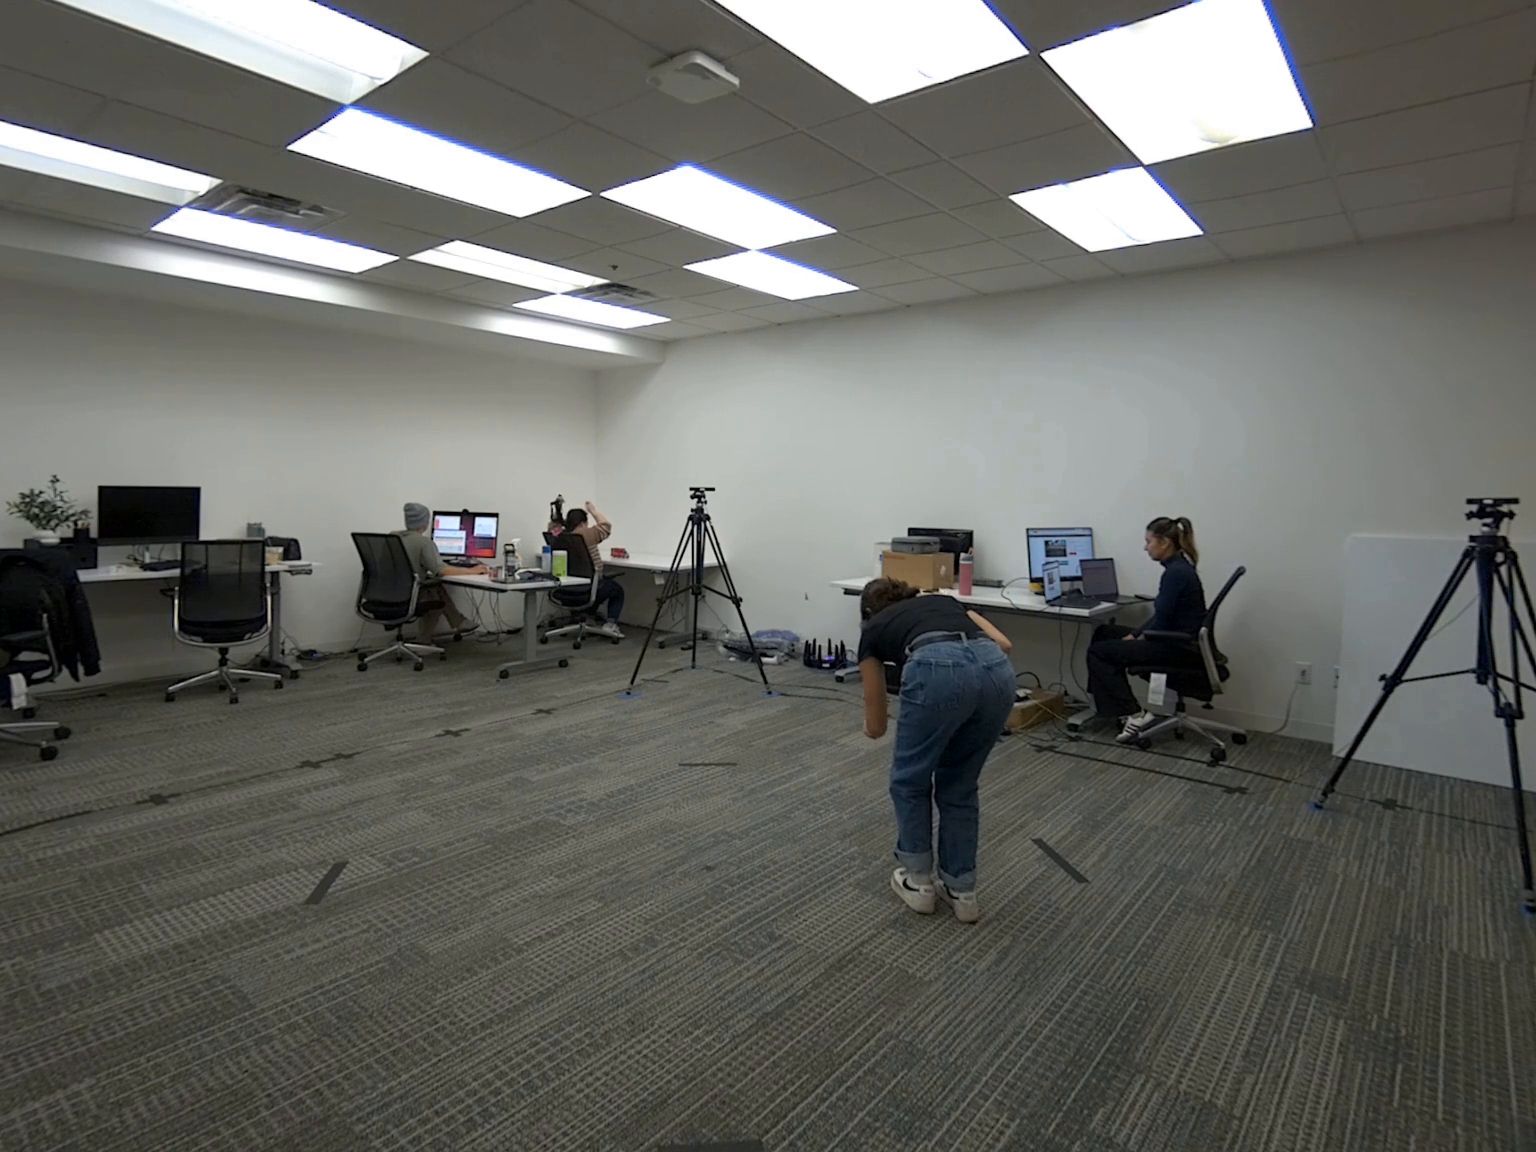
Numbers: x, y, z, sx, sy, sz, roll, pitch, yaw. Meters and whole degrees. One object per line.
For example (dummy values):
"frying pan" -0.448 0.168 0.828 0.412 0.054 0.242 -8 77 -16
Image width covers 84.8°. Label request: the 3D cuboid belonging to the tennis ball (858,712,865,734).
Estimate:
"tennis ball" 0.397 0.581 3.328 0.066 0.066 0.067 1 4 -2
